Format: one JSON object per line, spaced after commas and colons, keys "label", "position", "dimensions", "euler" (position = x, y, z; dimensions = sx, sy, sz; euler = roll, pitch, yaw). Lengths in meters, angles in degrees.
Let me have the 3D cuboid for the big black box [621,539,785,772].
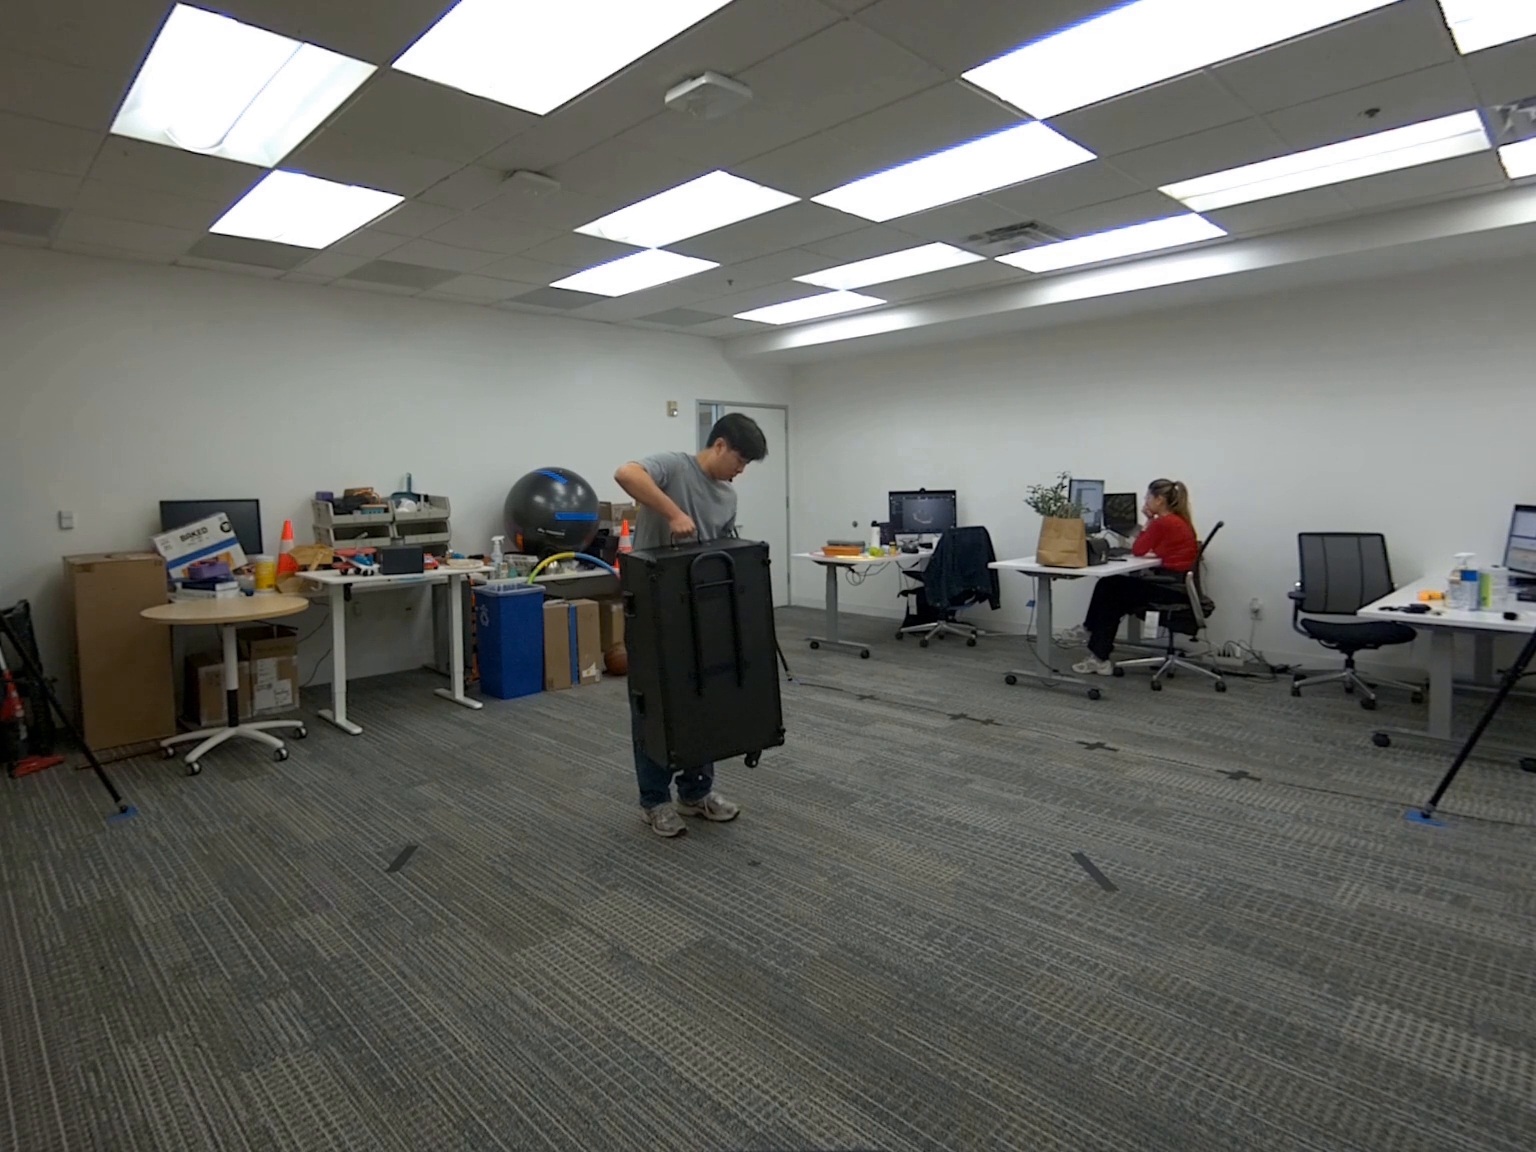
{"label": "big black box", "position": [-0.257, 0.255, 3.263], "dimensions": [0.511, 0.857, 0.406], "euler": [-7, 6, -26]}
